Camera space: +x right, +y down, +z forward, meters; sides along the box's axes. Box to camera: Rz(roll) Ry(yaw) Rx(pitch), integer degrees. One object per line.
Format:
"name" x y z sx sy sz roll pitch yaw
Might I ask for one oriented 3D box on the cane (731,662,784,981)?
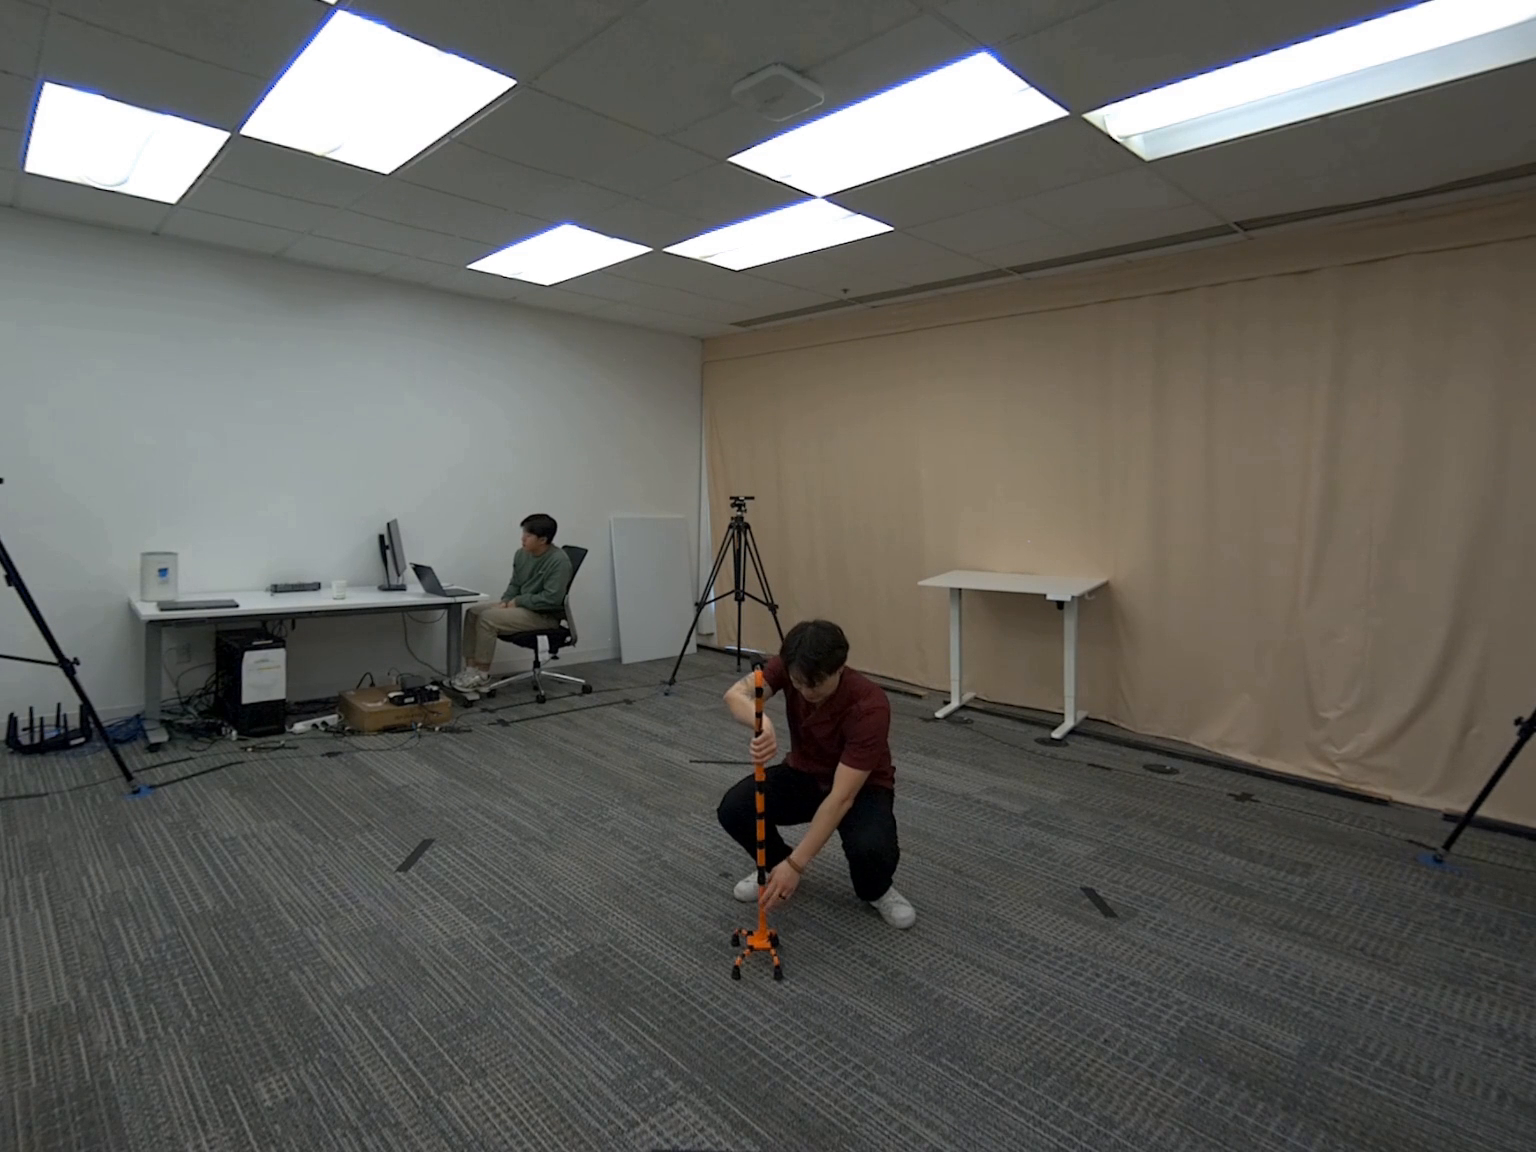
"cane" -0.038 0.708 2.492 0.151 0.904 0.208 1 5 -3
